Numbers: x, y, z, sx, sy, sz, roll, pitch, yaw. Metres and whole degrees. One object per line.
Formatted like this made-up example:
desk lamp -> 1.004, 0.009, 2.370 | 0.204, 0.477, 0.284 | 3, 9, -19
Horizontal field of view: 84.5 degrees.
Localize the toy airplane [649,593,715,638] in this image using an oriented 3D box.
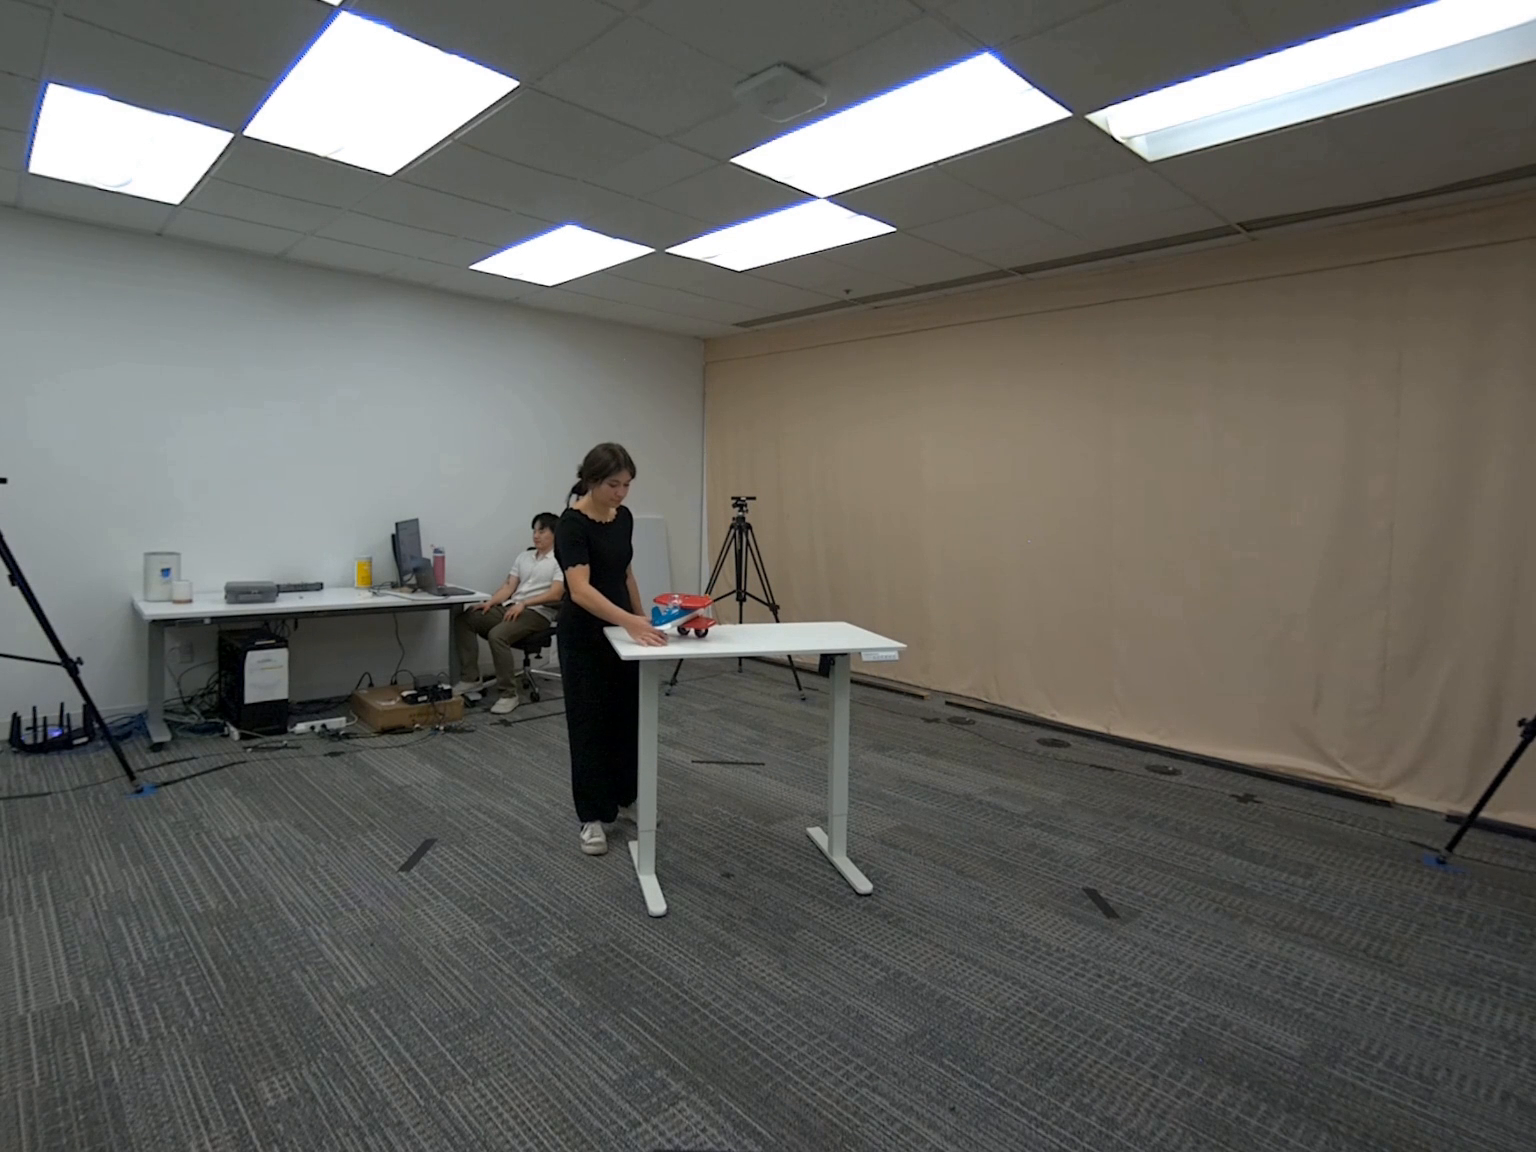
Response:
toy airplane -> -0.315, 0.153, 3.021 | 0.253, 0.156, 0.258 | 1, 4, 8
